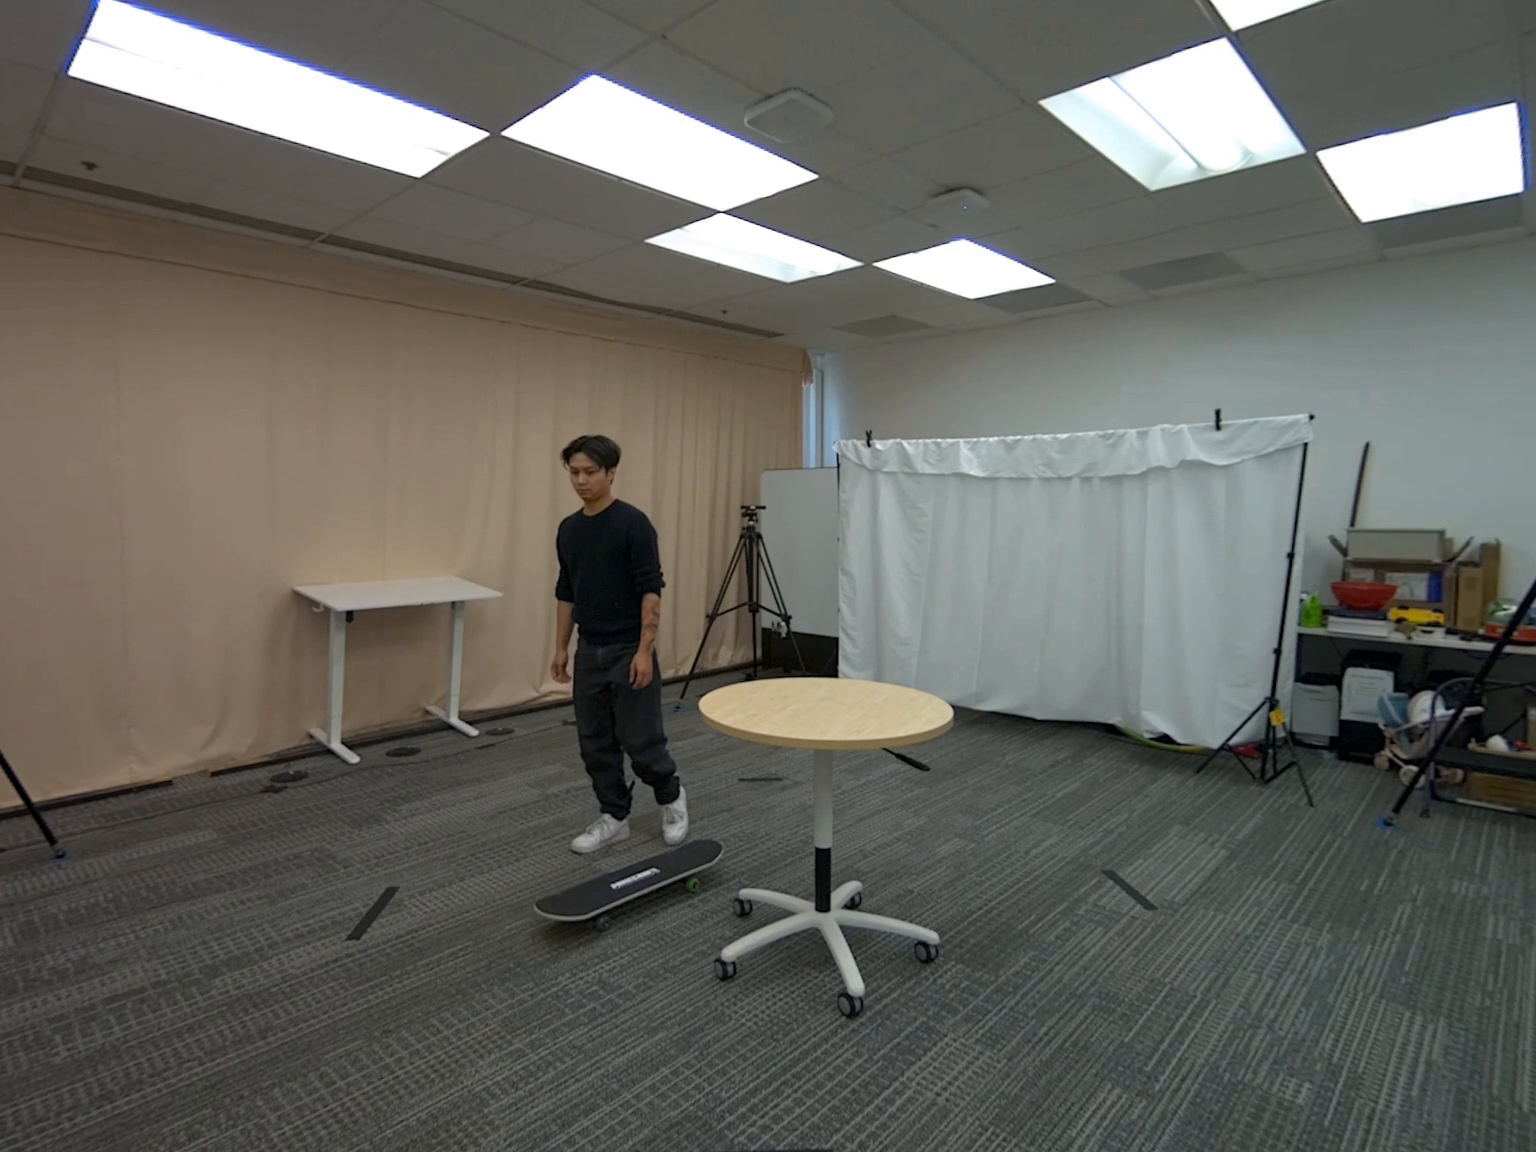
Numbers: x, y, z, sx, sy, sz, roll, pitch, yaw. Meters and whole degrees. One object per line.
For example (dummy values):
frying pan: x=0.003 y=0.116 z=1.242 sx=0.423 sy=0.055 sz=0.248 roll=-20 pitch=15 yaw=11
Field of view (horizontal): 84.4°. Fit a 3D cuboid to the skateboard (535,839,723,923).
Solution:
skateboard: x=-0.468 y=1.099 z=2.956 sx=0.200 sy=0.110 sz=0.762 roll=3 pitch=6 yaw=44
